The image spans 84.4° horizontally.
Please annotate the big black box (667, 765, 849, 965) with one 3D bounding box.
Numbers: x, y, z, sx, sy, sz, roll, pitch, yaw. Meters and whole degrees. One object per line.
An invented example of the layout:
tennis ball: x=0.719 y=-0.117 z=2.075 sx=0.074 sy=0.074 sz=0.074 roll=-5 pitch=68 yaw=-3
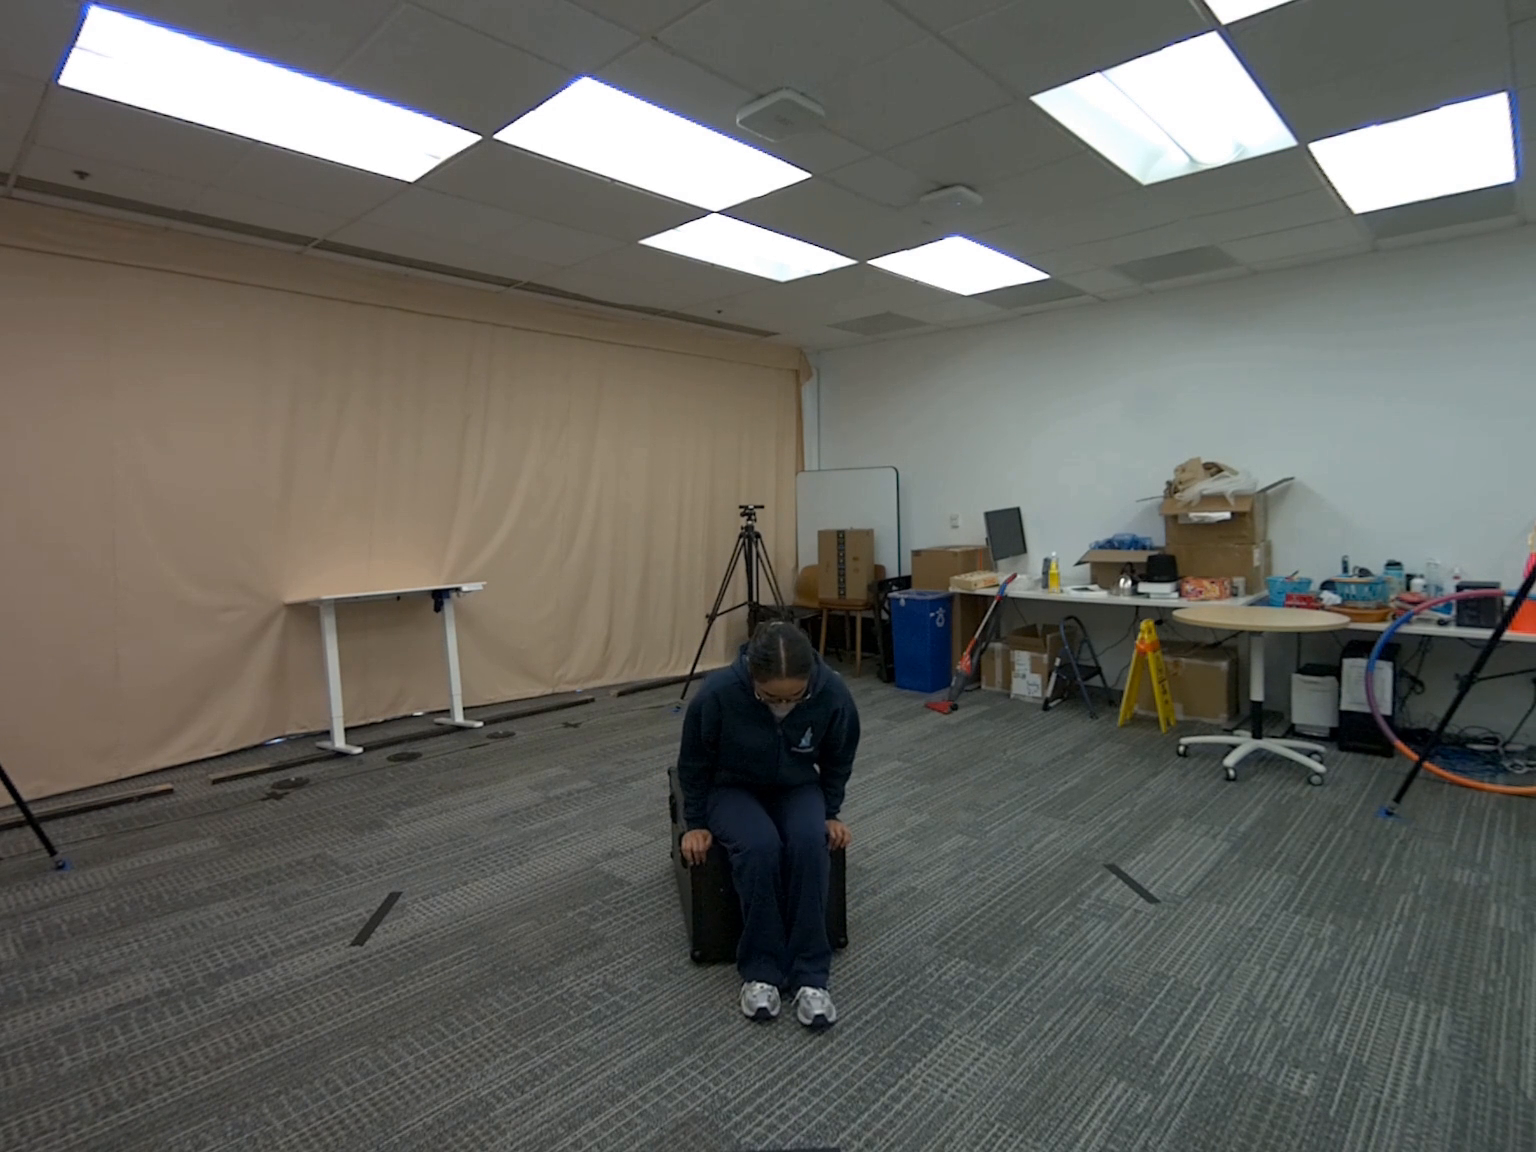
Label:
big black box: x=-0.074 y=0.948 z=2.973 sx=0.516 sy=0.395 sz=0.873 roll=-2 pitch=5 yaw=-11
